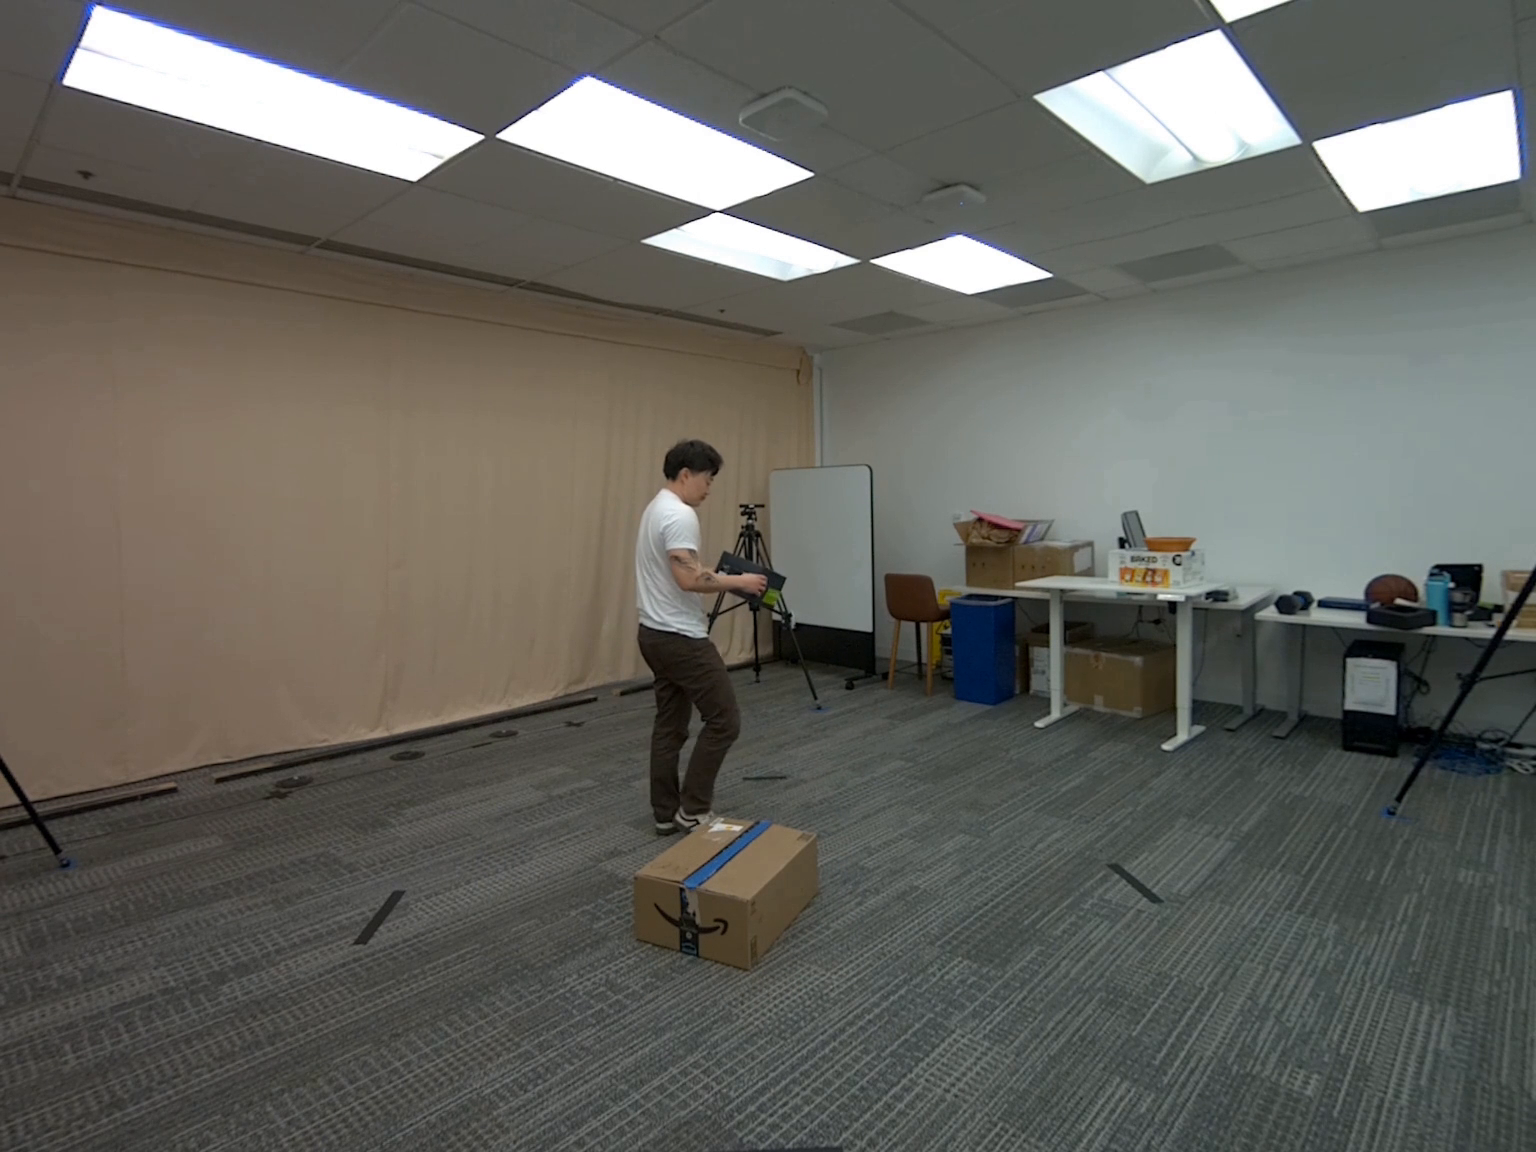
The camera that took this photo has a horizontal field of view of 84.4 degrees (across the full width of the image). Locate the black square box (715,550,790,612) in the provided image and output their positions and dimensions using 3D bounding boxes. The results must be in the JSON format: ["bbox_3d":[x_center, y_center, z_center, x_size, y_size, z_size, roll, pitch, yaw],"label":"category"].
[{"bbox_3d":[-0.077,0.021,3.600,0.224,0.156,0.220,22,-2,30],"label":"black square box"}]
